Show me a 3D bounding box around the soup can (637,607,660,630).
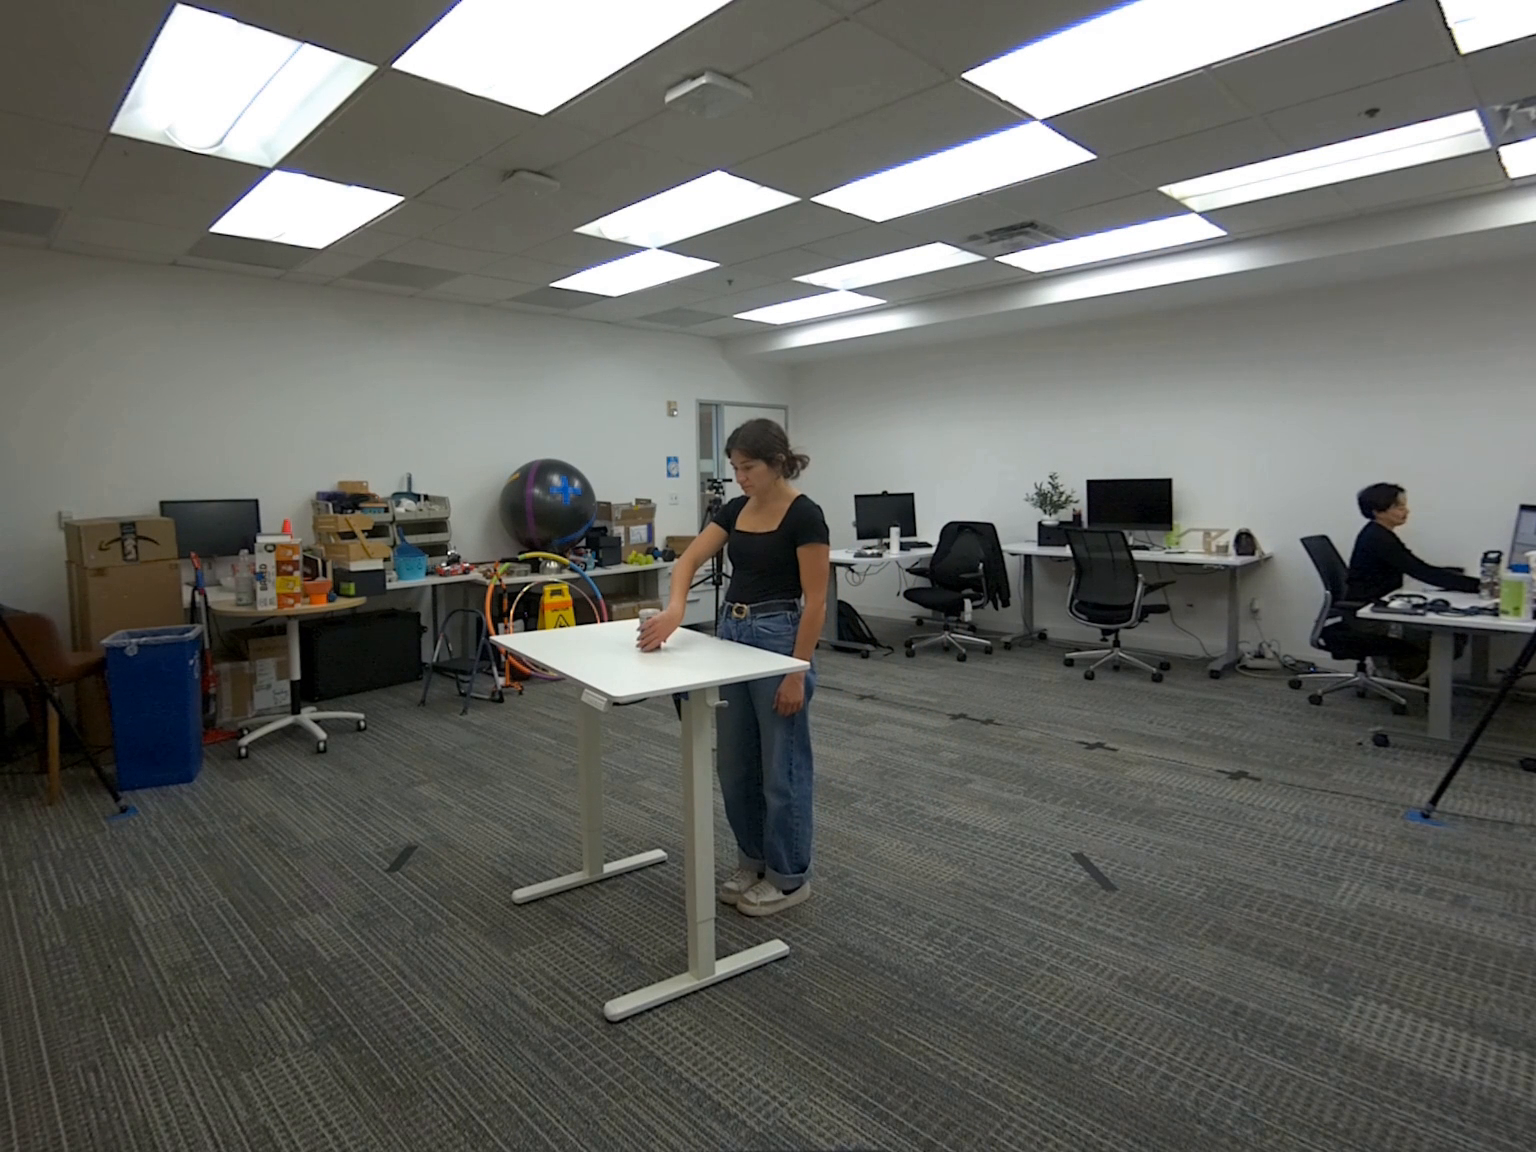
[{"bbox_3d":[-0.347,0.167,2.618,0.067,0.121,0.067,1,3,-2],"label":"soup can"}]
